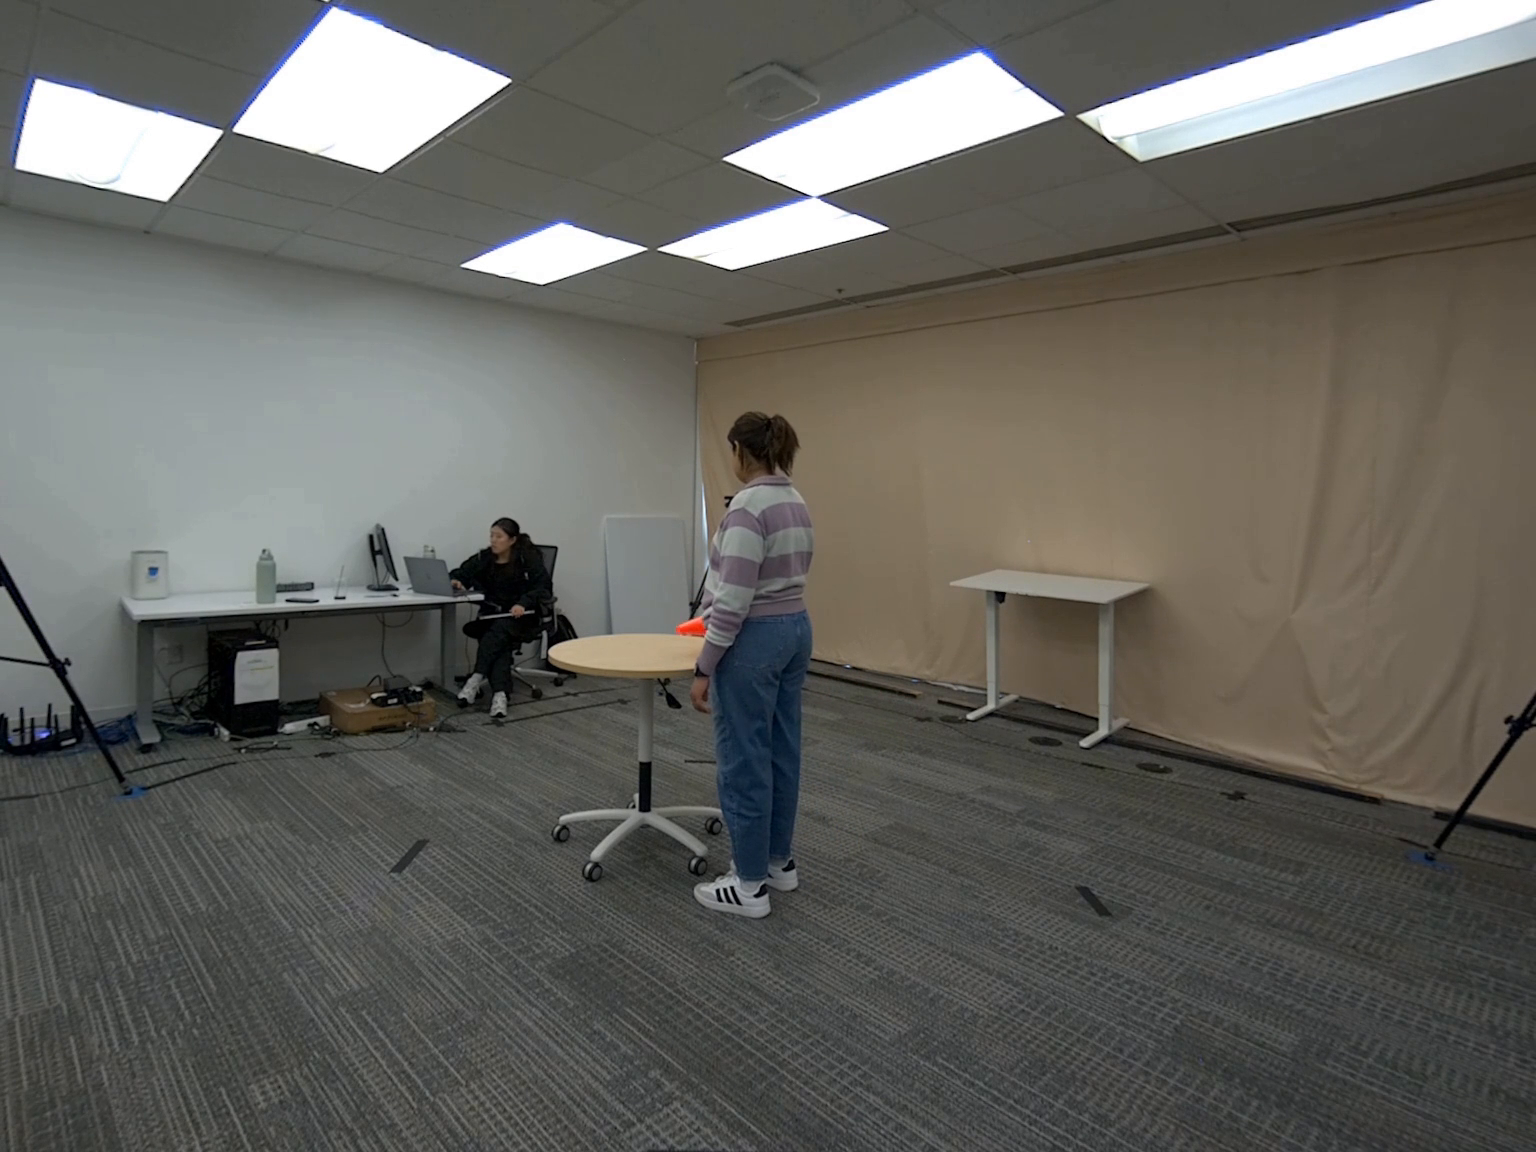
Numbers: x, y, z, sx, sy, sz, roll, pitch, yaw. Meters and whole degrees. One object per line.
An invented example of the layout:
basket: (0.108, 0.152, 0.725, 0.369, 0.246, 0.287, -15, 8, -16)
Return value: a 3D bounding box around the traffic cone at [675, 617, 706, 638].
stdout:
traffic cone: (-0.220, 0.190, 3.295, 0.210, 0.203, 0.375, 6, 6, 42)
